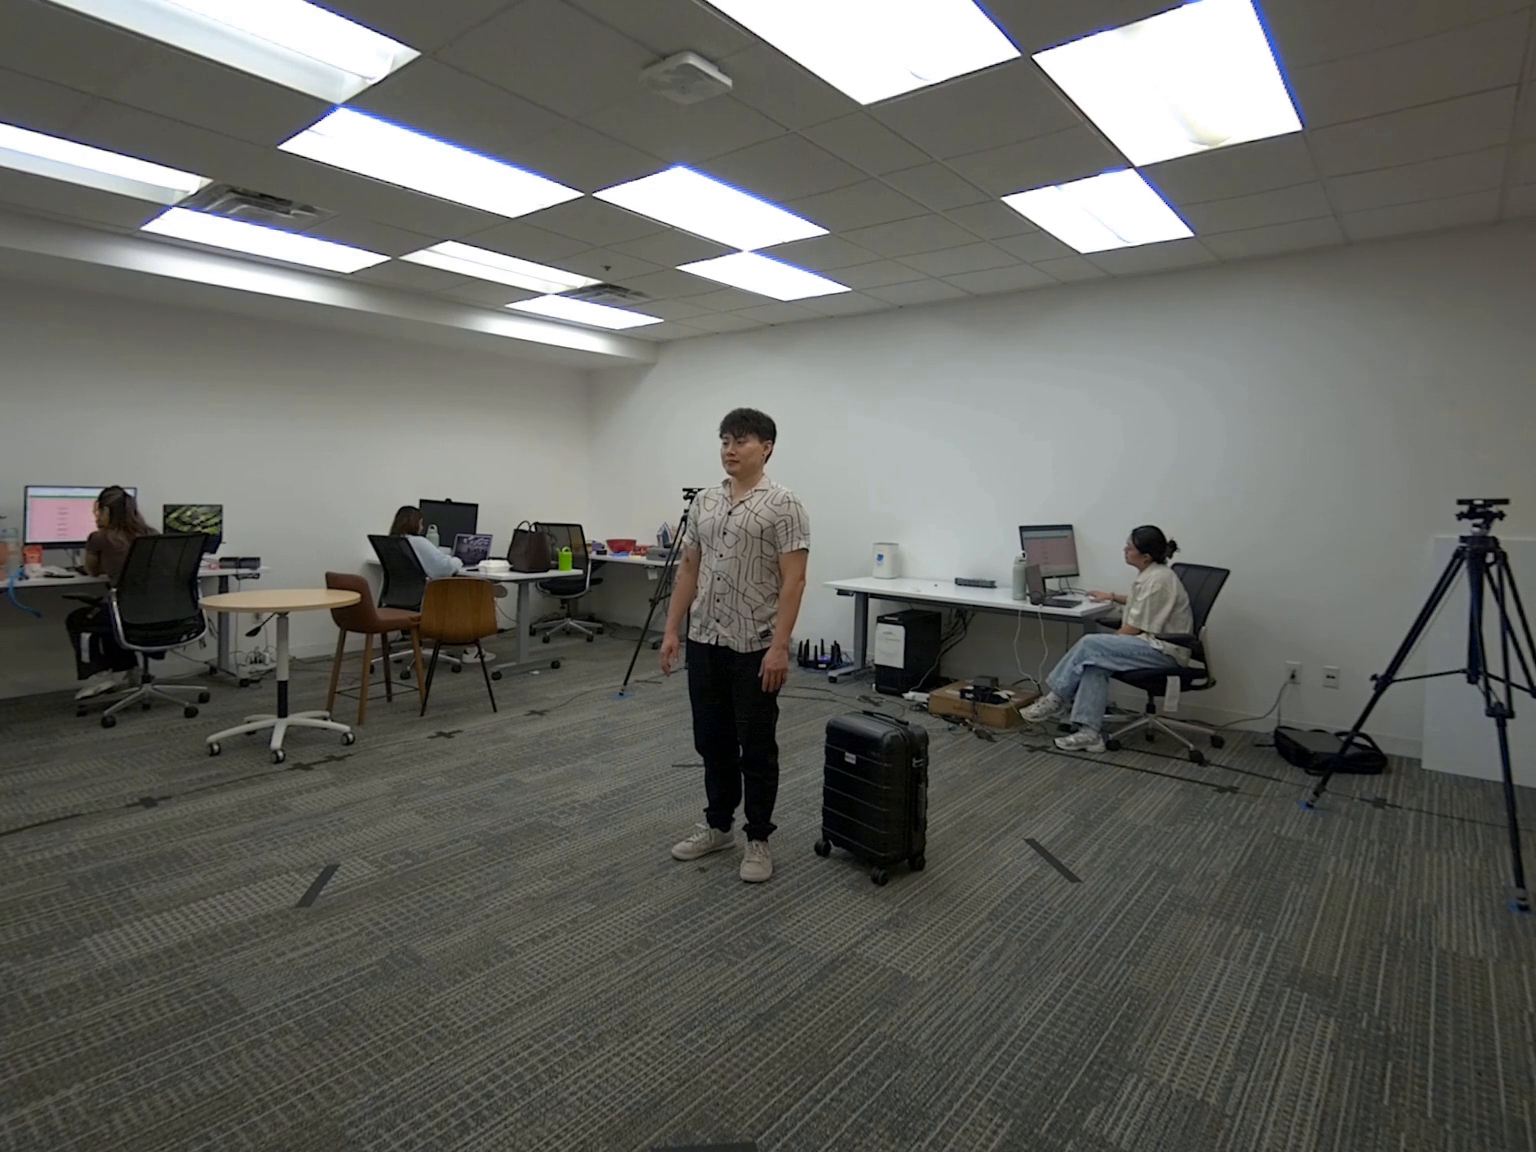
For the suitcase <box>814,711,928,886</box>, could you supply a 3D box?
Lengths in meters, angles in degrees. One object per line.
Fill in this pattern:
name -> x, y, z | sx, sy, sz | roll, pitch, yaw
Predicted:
suitcase -> 0.396, 0.798, 3.202 | 0.241, 0.548, 0.388 | 0, 4, -38
